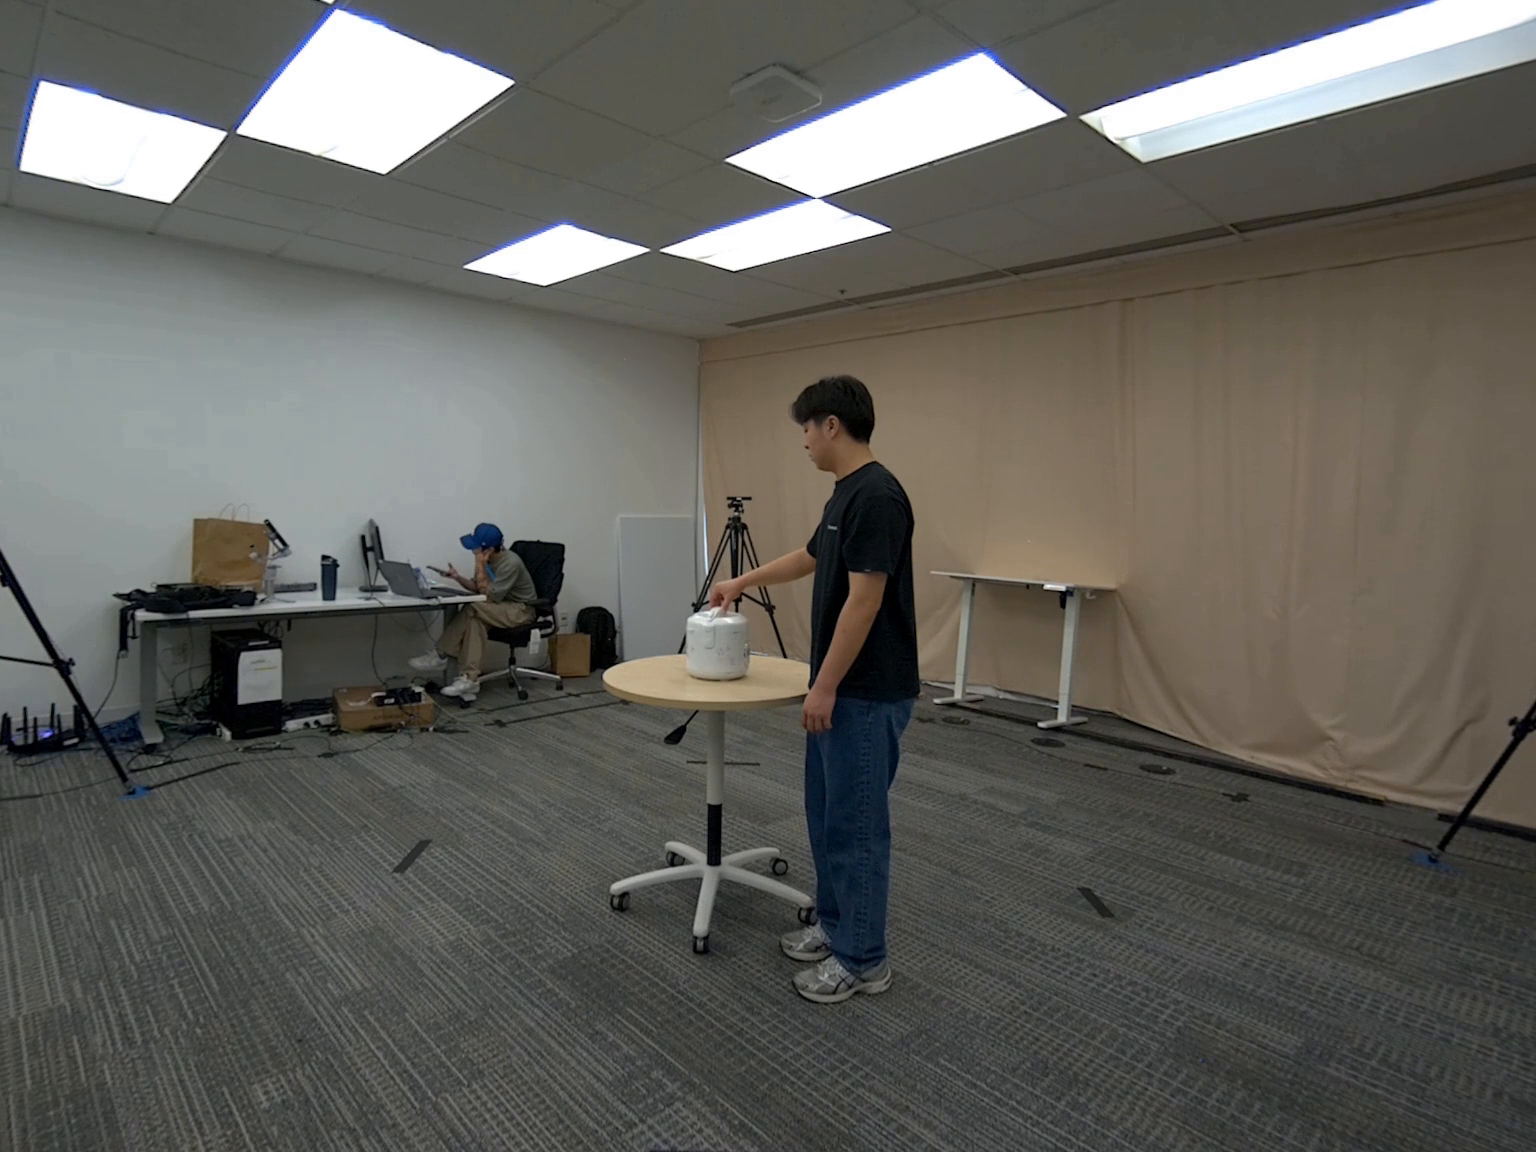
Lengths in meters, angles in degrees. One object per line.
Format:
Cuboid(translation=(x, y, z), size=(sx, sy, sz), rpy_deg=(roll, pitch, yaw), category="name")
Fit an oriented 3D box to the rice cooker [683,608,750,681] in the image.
Cuboid(translation=(-0.172, 0.221, 2.822), size=(0.220, 0.232, 0.218), rpy_deg=(2, 4, 16), category="rice cooker")
